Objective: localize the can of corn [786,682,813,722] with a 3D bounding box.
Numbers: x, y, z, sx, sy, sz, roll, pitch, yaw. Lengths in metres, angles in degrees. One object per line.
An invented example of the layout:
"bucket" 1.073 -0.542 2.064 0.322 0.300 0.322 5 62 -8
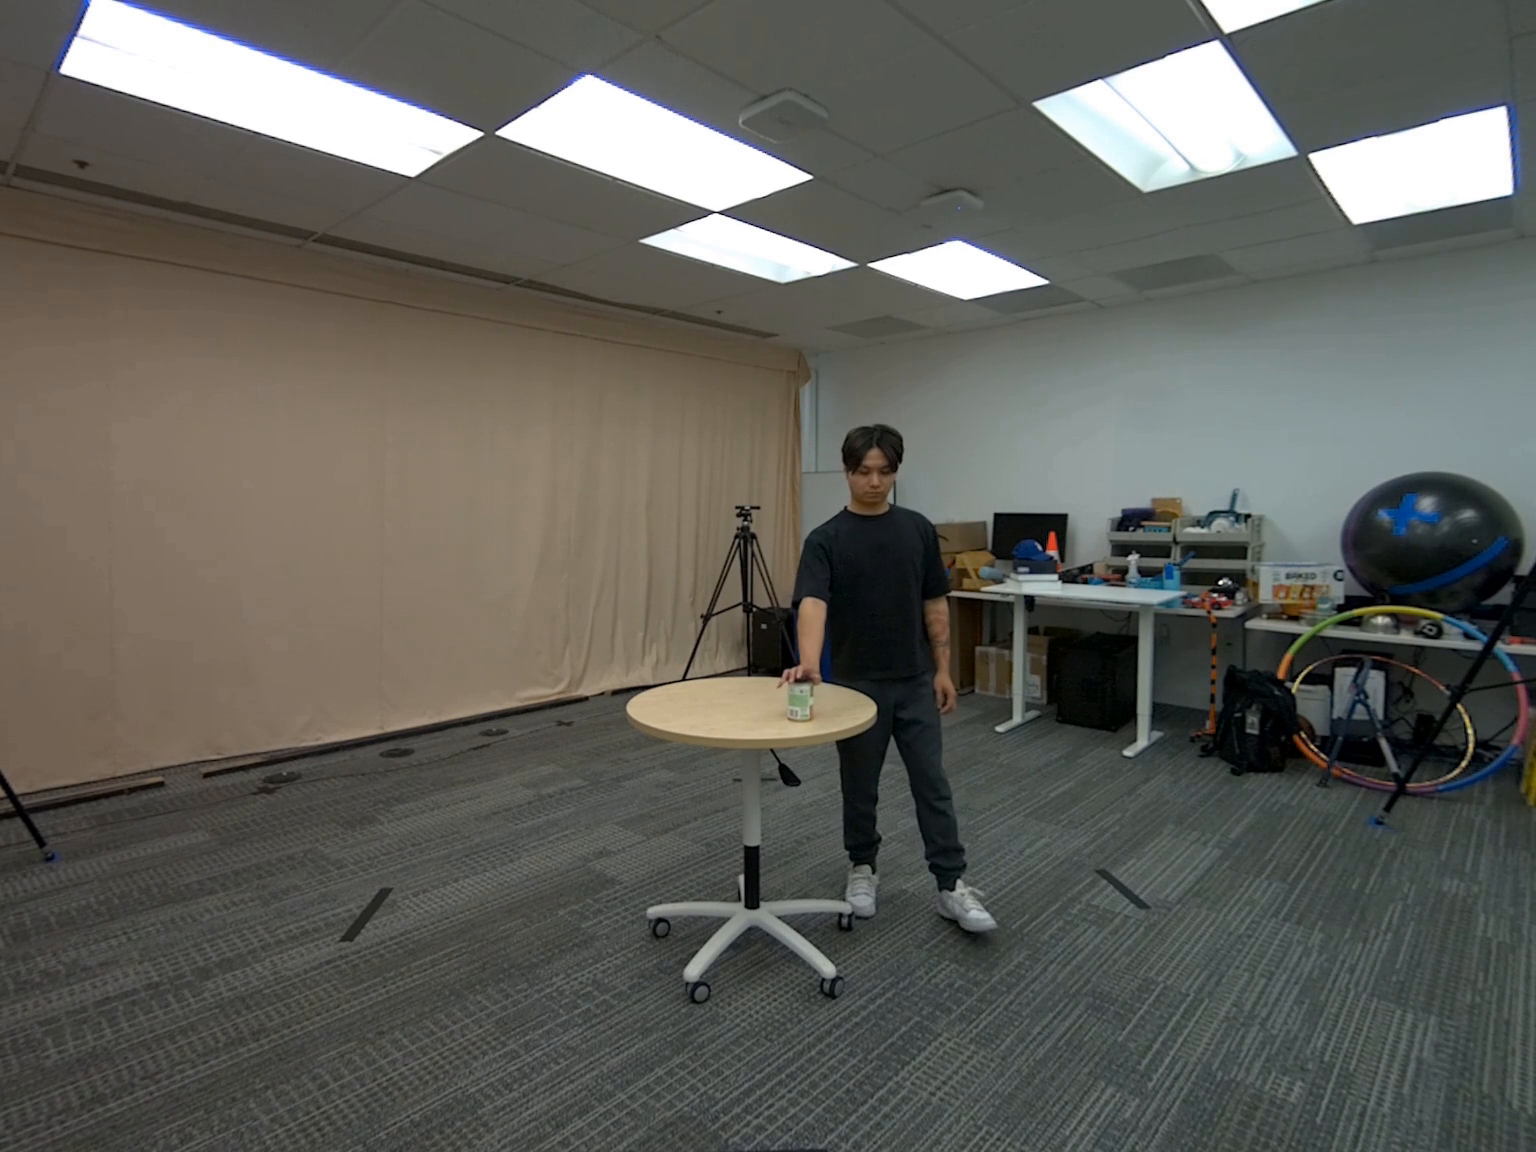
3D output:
"can of corn" 0.102 0.355 2.409 0.074 0.111 0.074 0 4 -2
